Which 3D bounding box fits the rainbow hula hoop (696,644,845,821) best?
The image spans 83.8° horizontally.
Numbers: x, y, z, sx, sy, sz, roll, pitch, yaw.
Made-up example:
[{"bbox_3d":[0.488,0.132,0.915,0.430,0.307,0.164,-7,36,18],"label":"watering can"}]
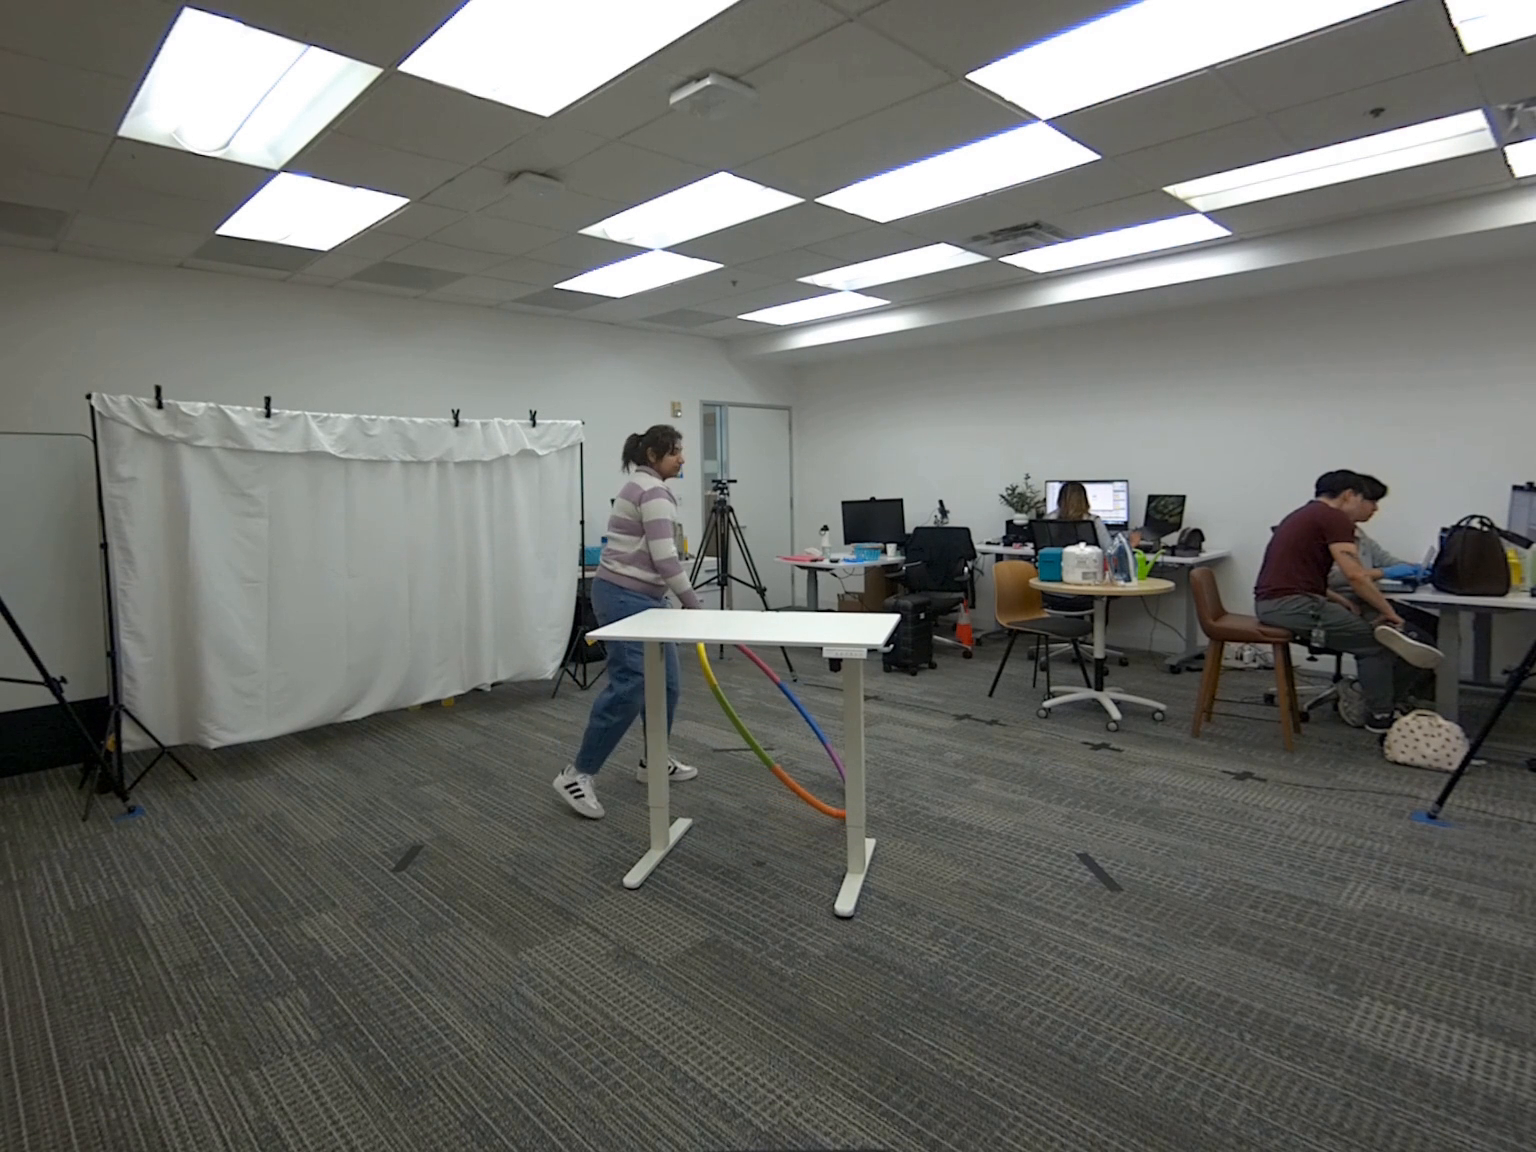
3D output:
[{"bbox_3d":[0.044,0.610,3.668,0.035,0.984,0.973,-43,-3,10],"label":"rainbow hula hoop"}]
